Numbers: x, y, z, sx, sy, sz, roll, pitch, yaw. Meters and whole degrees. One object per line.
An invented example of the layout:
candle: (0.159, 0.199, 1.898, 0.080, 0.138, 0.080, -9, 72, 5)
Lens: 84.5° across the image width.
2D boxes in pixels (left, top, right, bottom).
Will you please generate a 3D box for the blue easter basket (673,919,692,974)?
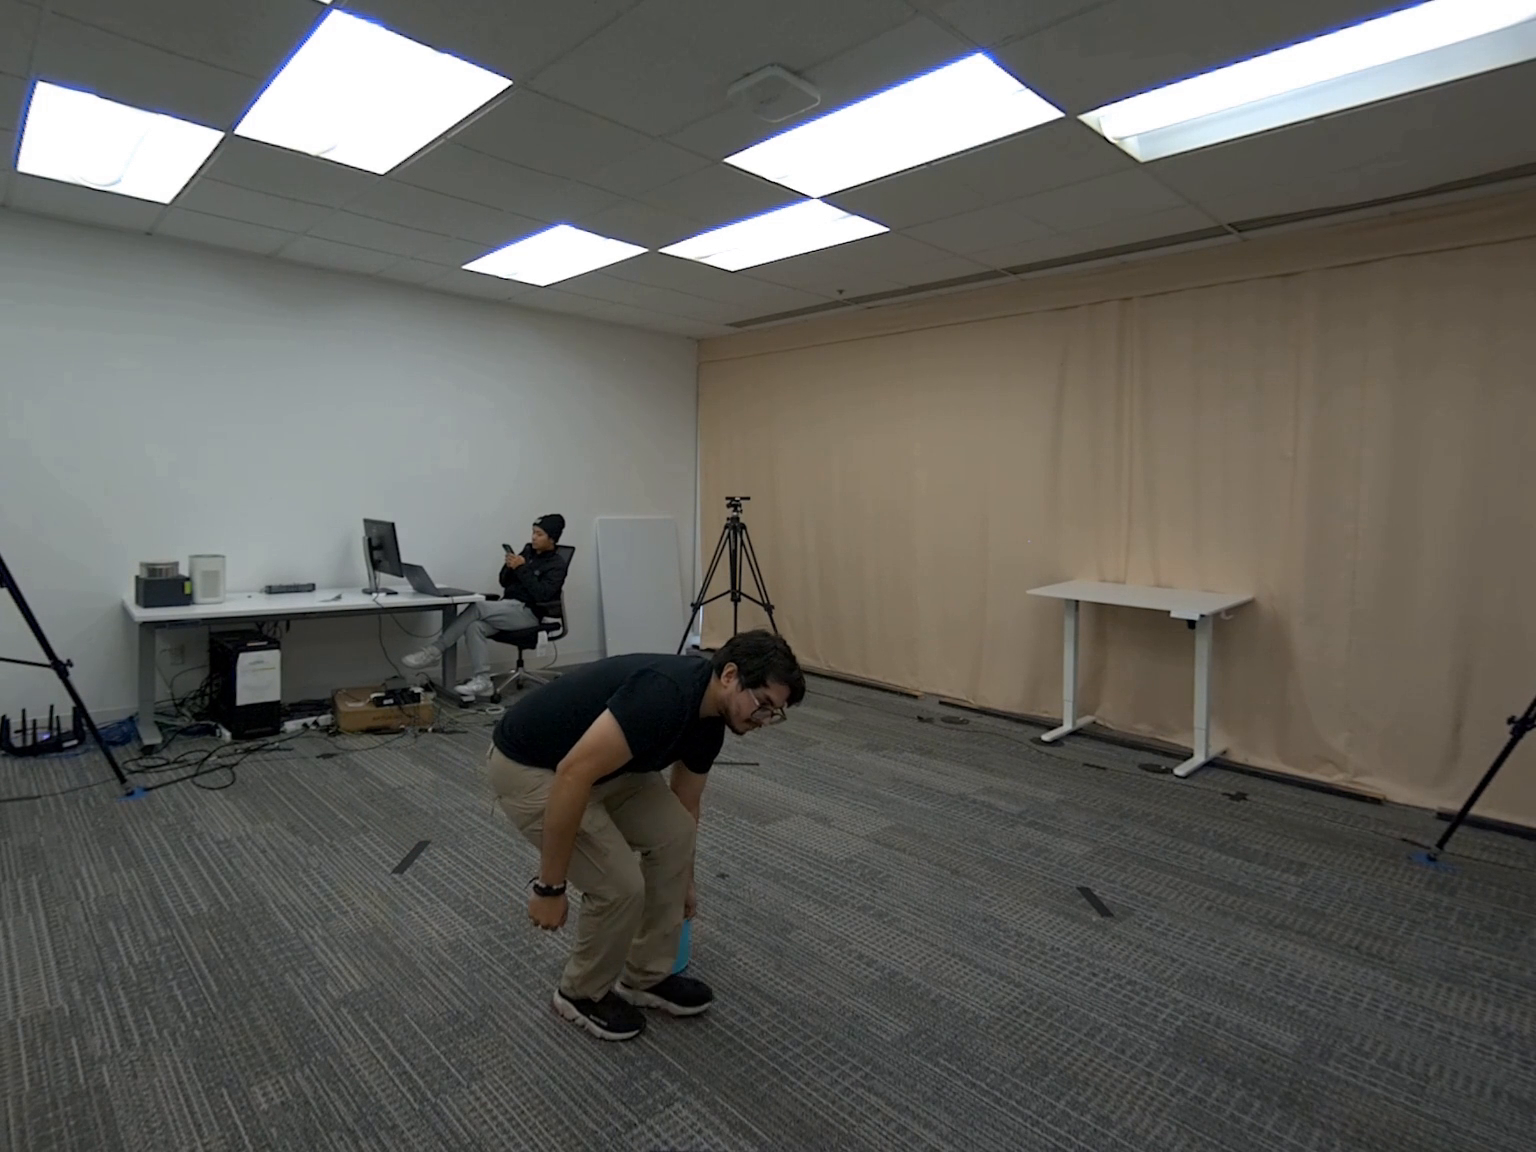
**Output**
blue easter basket: (-0.327, 1.078, 2.497, 0.243, 0.155, 0.244, -4, 5, -1)
